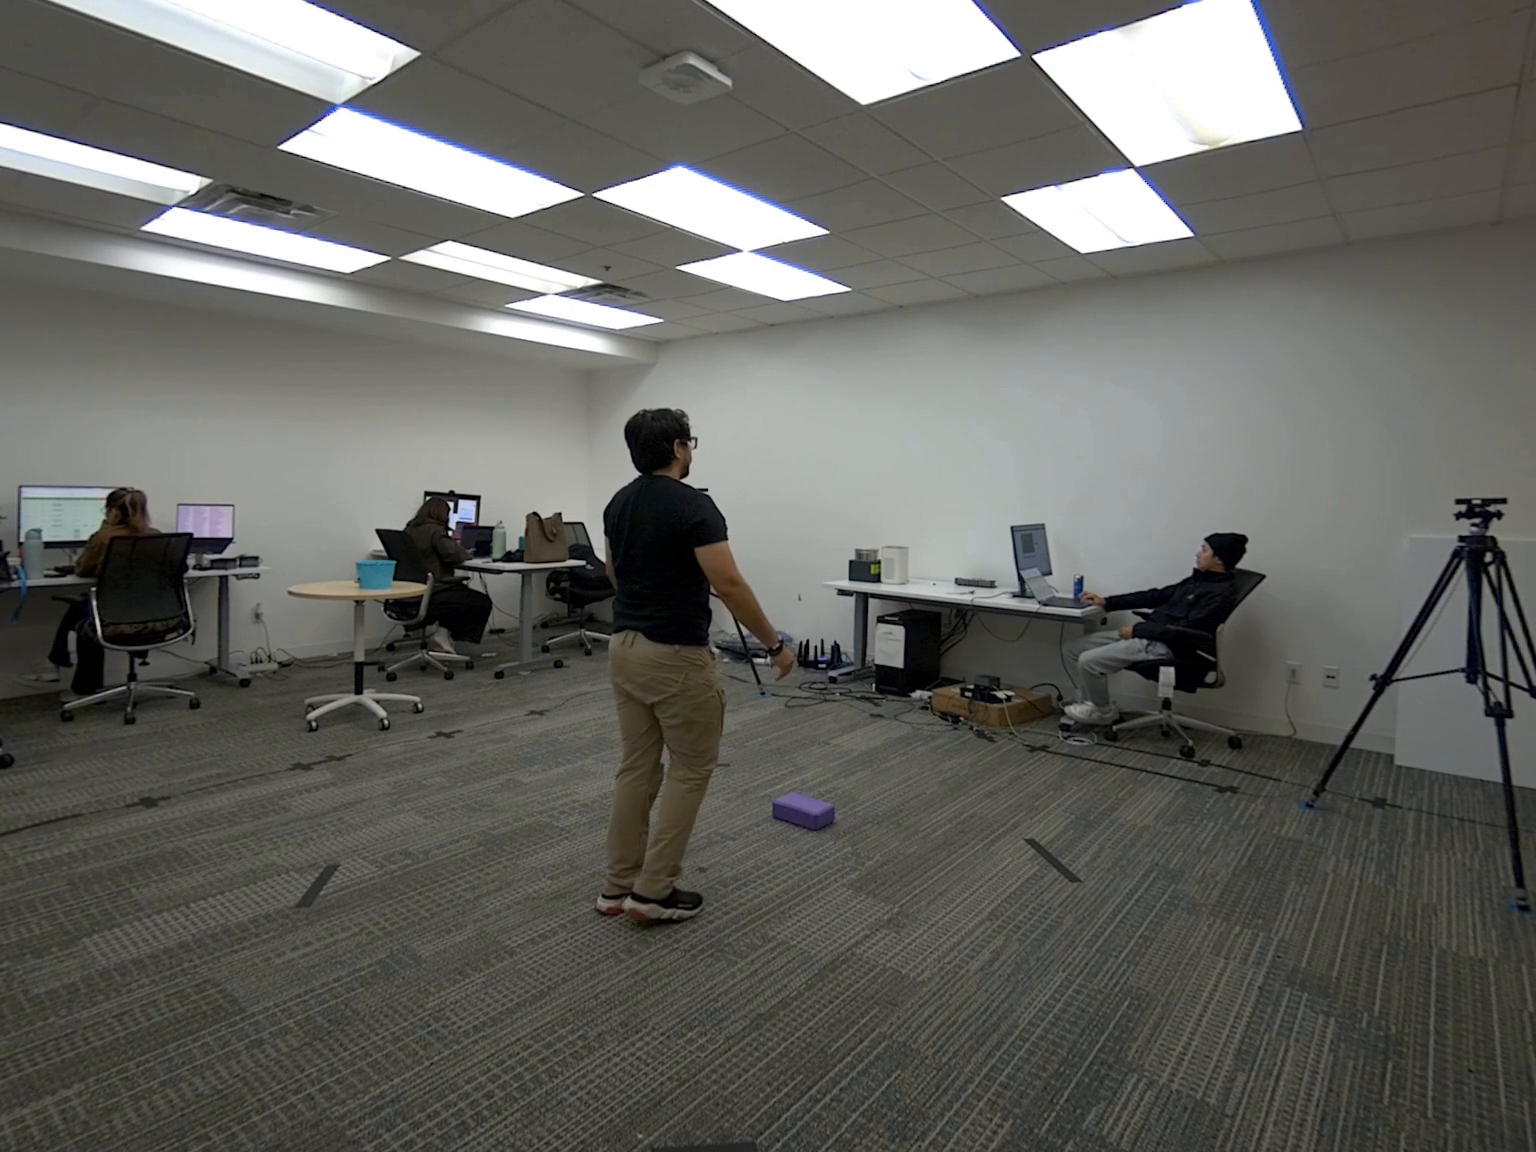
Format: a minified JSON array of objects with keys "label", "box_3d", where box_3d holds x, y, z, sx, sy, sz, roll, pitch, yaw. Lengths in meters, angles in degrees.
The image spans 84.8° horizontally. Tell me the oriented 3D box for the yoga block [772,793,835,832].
[{"label":"yoga block","box_3d":[0.142,0.989,3.599,0.237,0.076,0.145,5,7,38]}]
